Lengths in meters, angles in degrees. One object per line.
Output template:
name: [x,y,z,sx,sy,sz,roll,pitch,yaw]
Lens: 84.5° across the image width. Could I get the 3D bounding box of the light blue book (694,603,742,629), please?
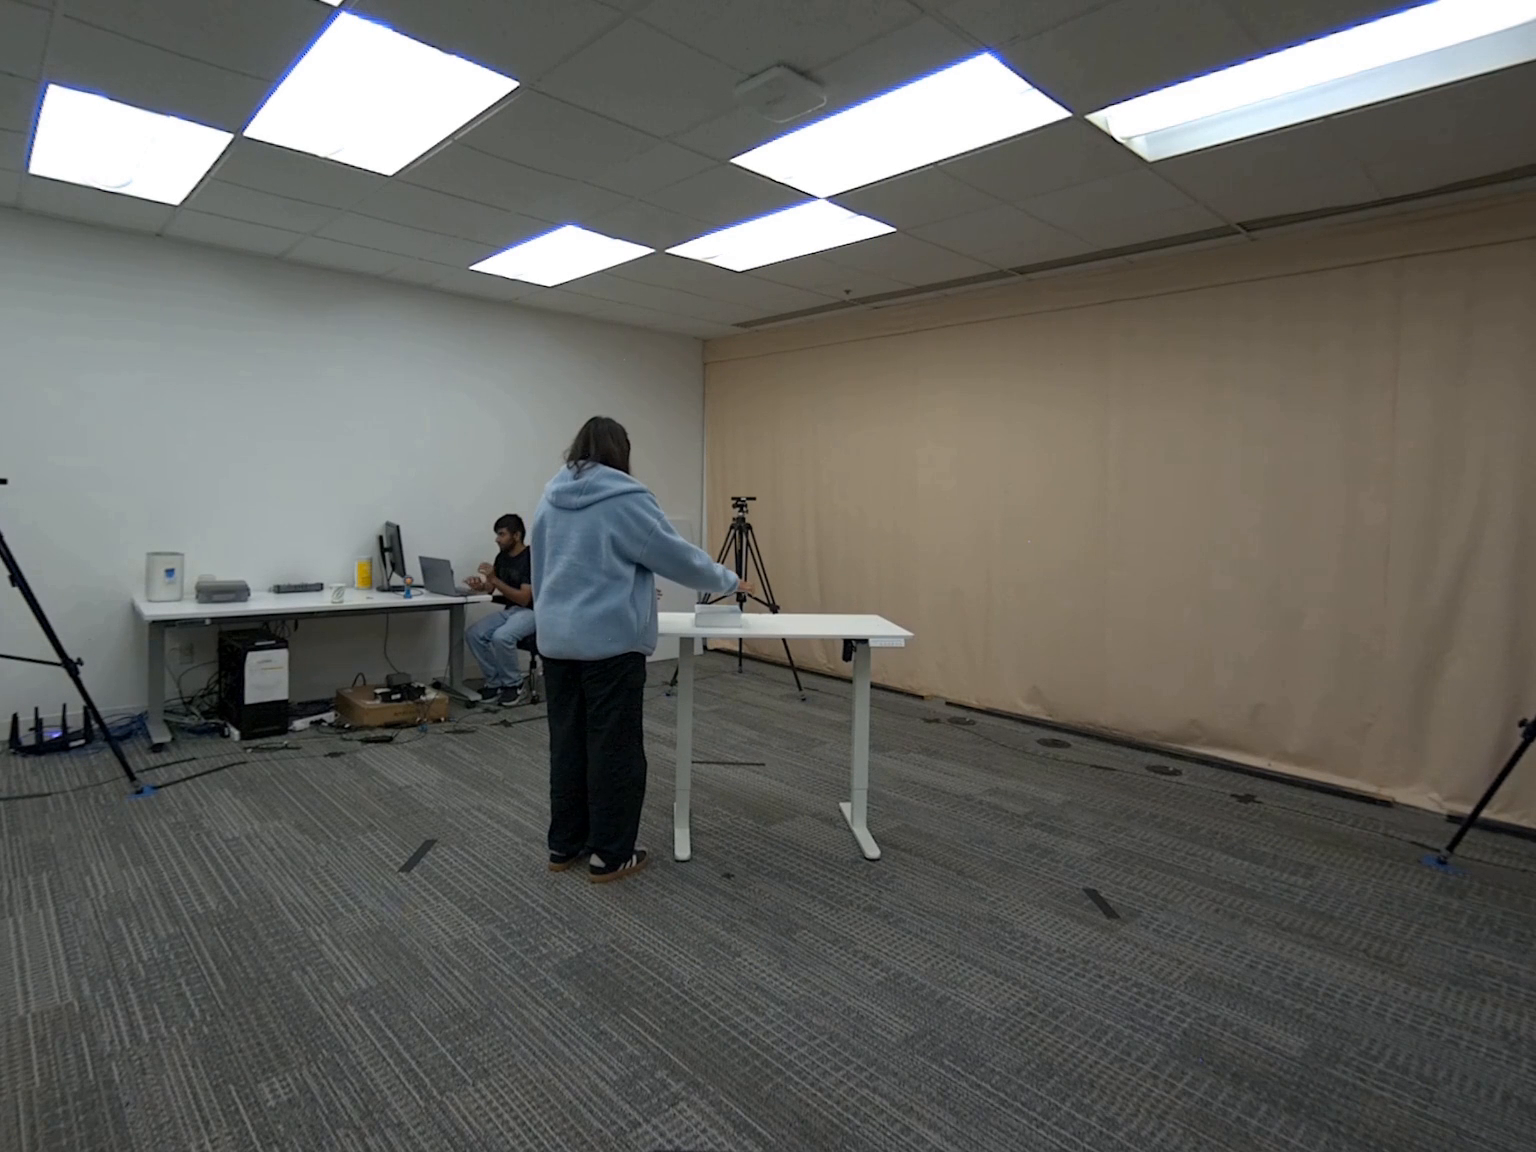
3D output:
light blue book: [-0.220,0.160,3.469,0.191,0.059,0.263,1,7,-4]
